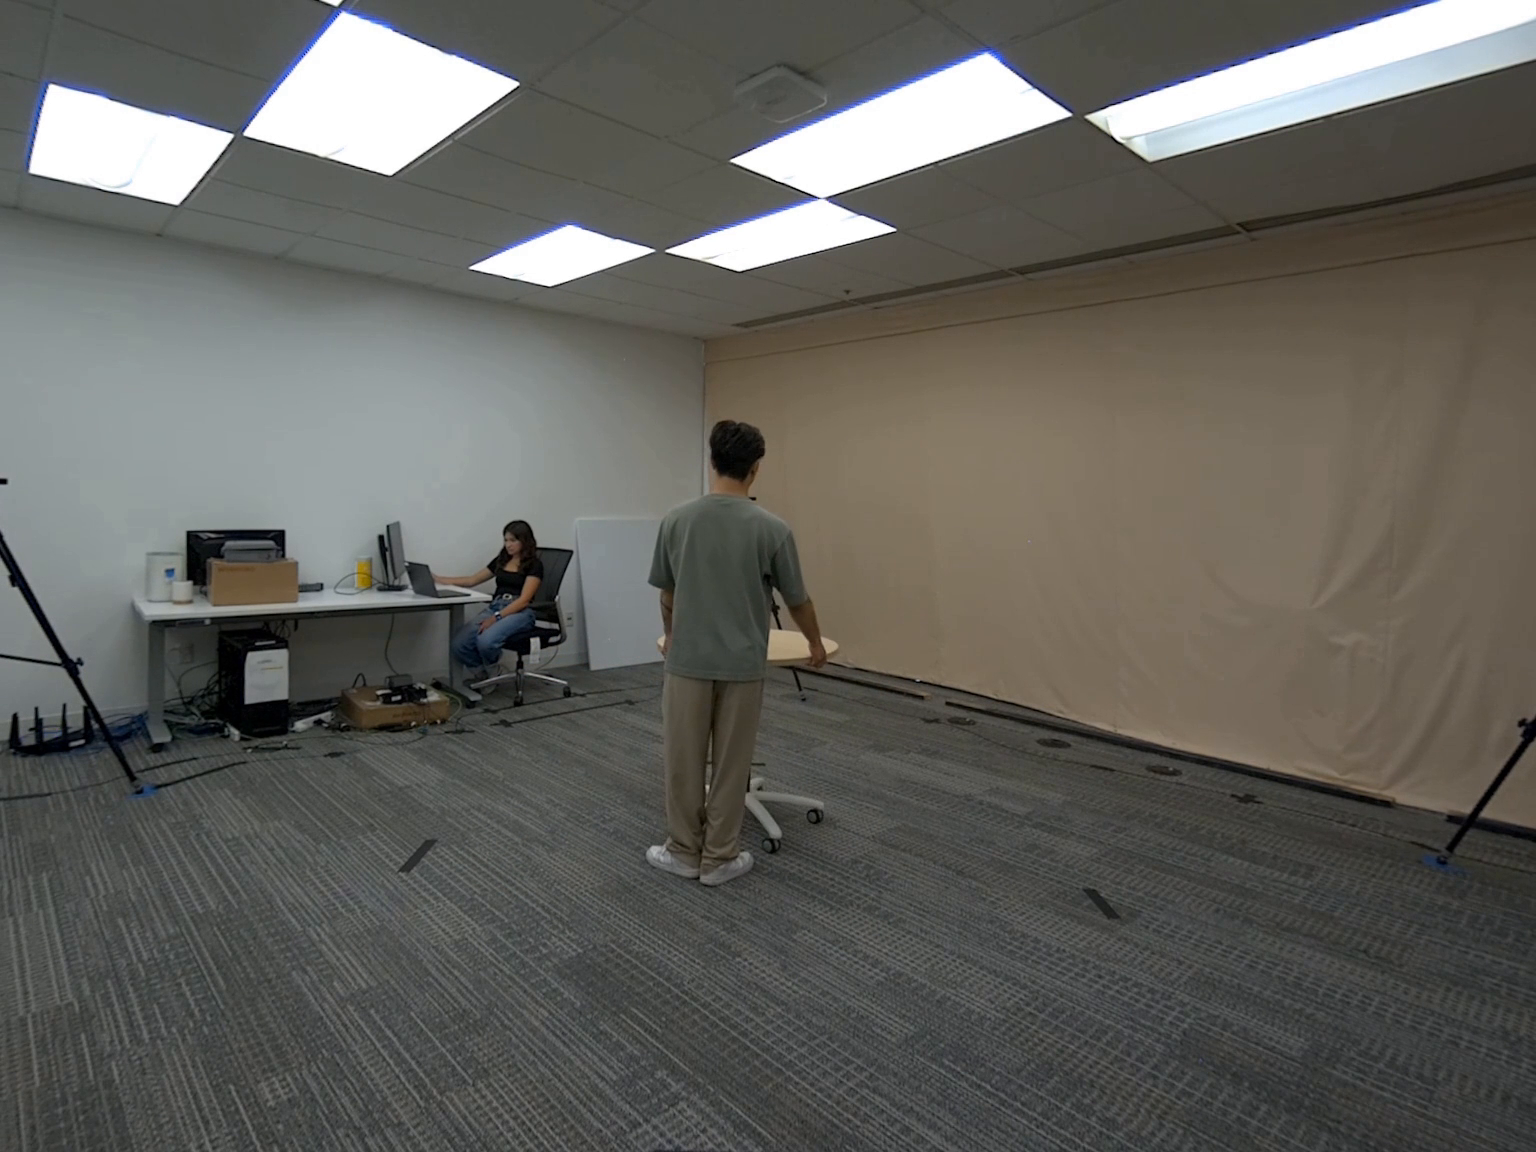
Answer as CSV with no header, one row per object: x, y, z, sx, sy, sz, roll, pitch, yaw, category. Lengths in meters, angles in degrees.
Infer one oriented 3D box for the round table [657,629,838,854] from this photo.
-0.100,0.674,3.619,0.784,0.784,0.788,2,4,-1,round table
